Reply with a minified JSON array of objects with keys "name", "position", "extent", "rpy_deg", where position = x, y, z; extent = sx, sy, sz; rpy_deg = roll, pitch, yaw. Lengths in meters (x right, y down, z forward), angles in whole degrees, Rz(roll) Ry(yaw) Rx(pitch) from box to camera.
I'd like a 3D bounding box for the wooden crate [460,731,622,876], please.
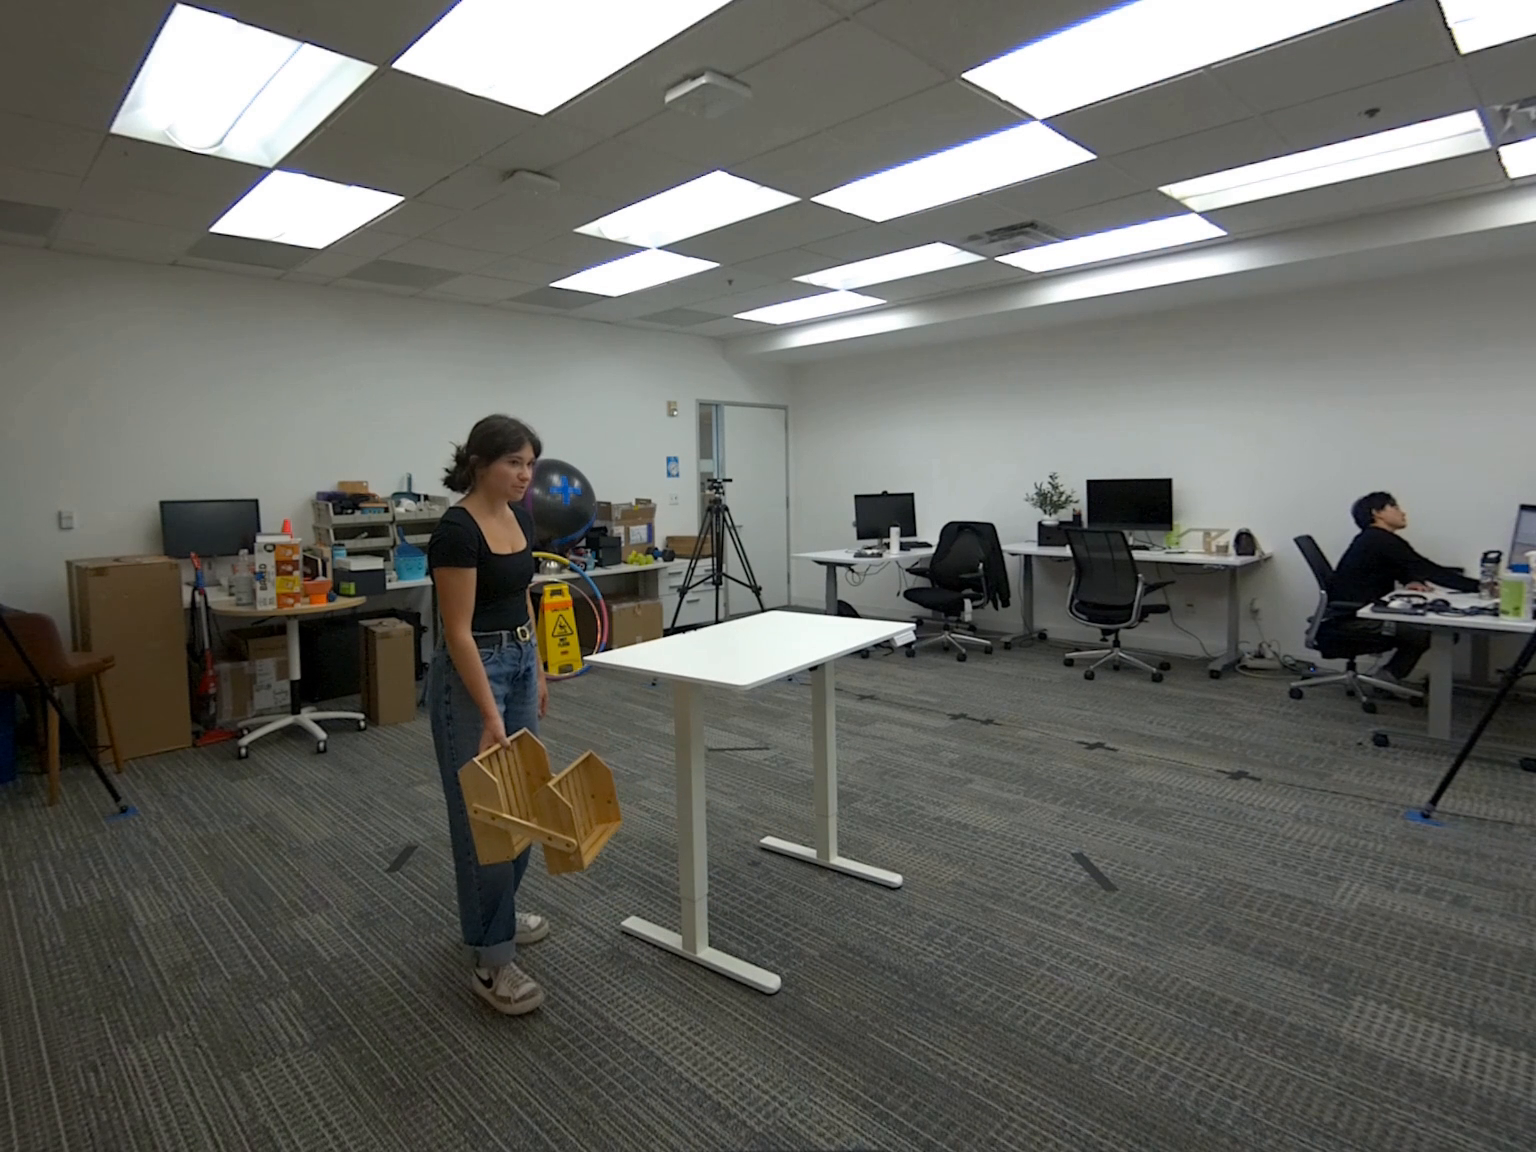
[{"name":"wooden crate","position":[-0.550,0.556,2.127],"extent":[0.276,0.302,0.321],"rpy_deg":[-14,0,12]}]
